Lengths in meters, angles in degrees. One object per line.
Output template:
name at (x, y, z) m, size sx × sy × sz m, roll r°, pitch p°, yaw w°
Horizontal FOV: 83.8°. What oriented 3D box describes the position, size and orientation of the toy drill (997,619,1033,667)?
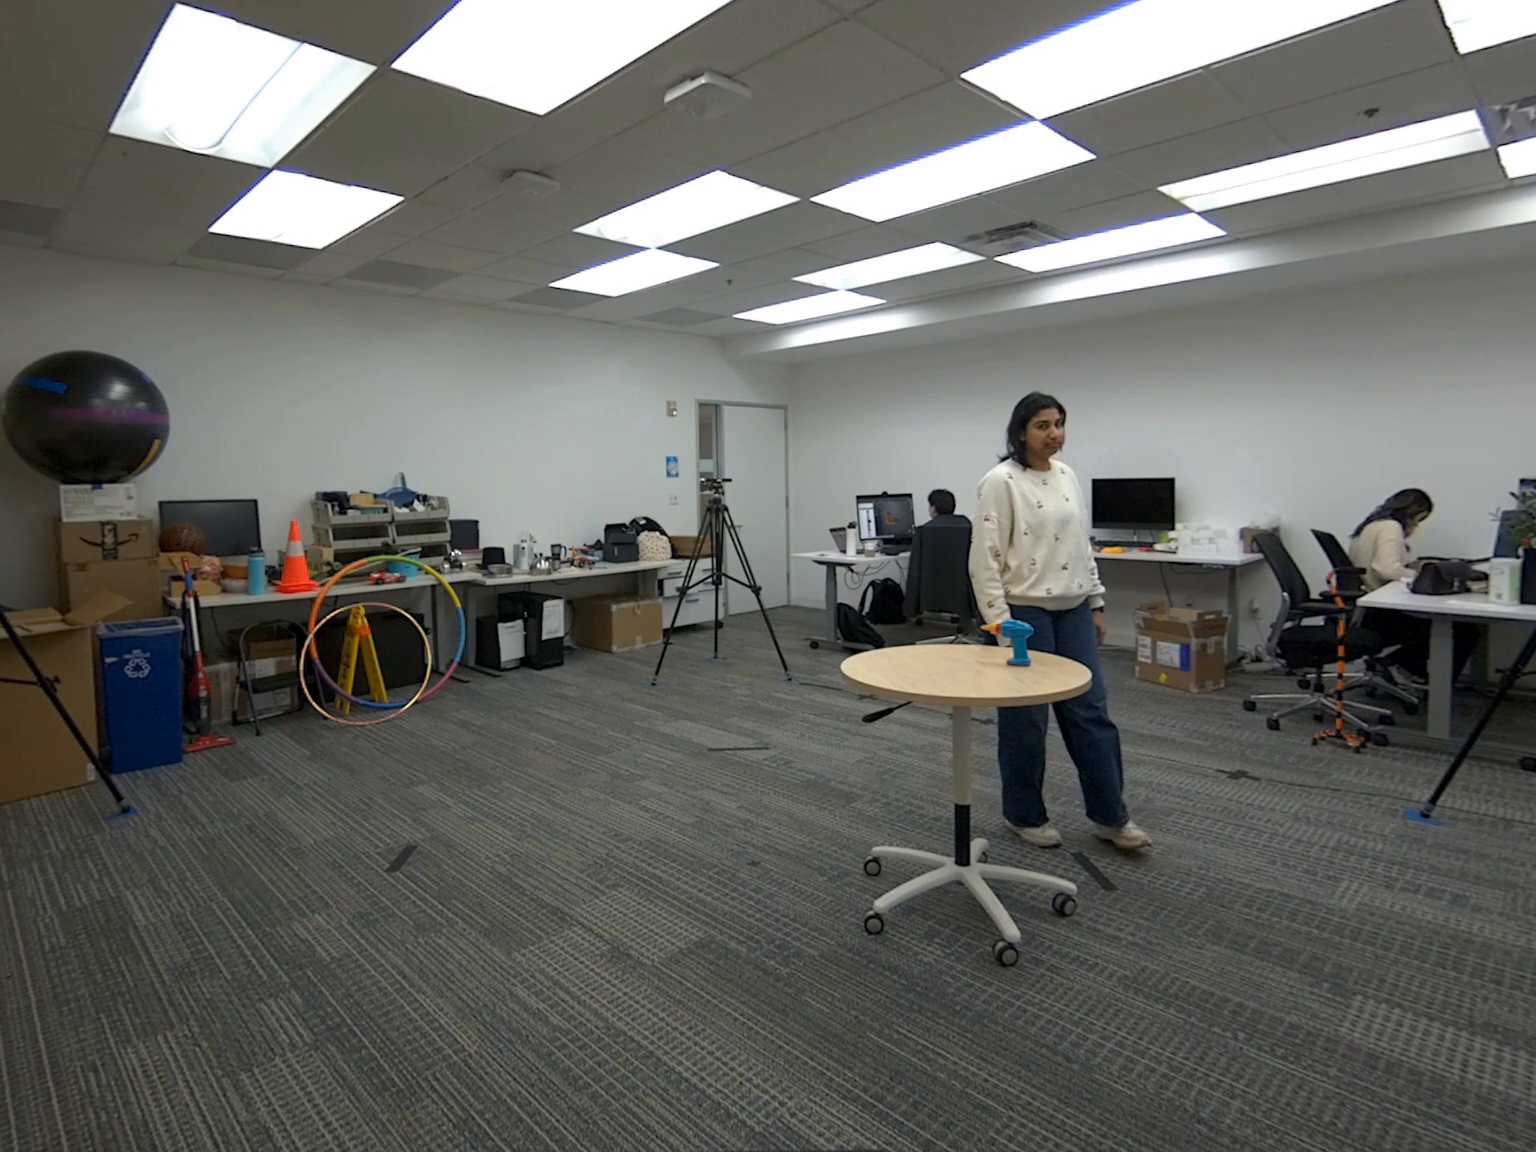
toy drill at (0.784, 0.213, 2.752) m, size 0.174 × 0.145 × 0.060 m, roll 2°, pitch 4°, yaw 30°
